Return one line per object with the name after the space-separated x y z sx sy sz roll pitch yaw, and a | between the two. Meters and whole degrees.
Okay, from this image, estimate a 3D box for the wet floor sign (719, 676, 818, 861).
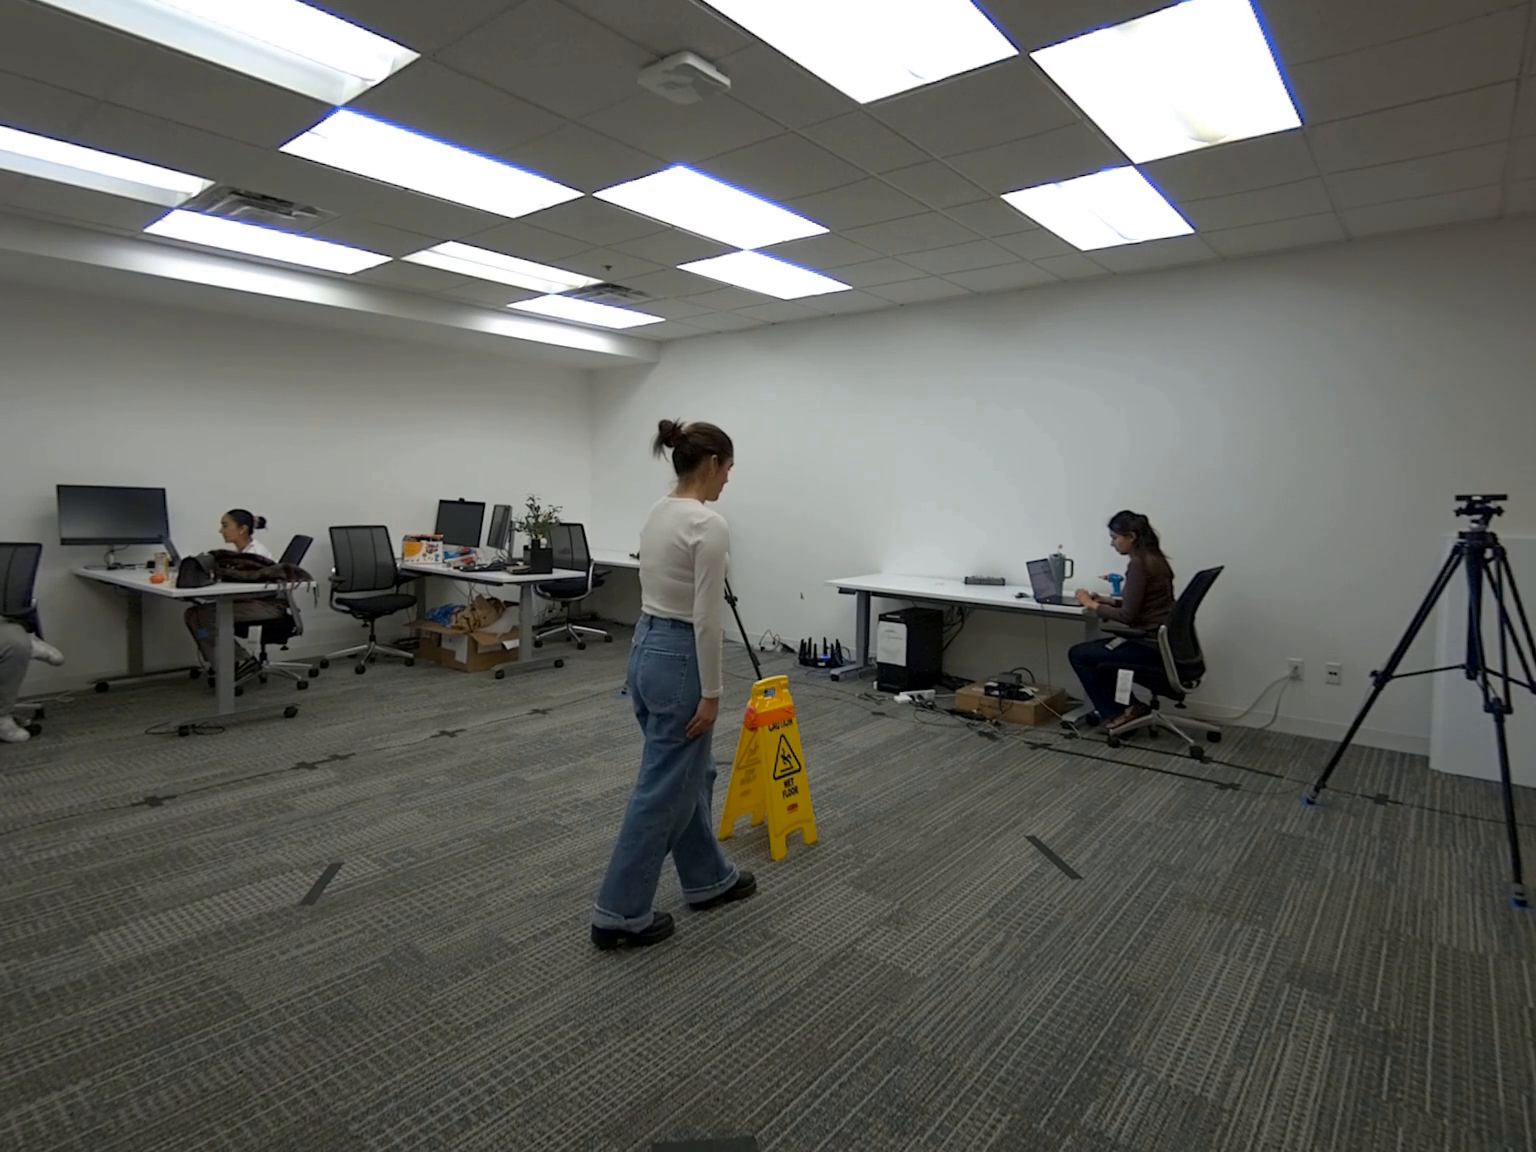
0.001 0.720 3.355 0.299 0.644 0.274 4 5 40 | wet floor sign
